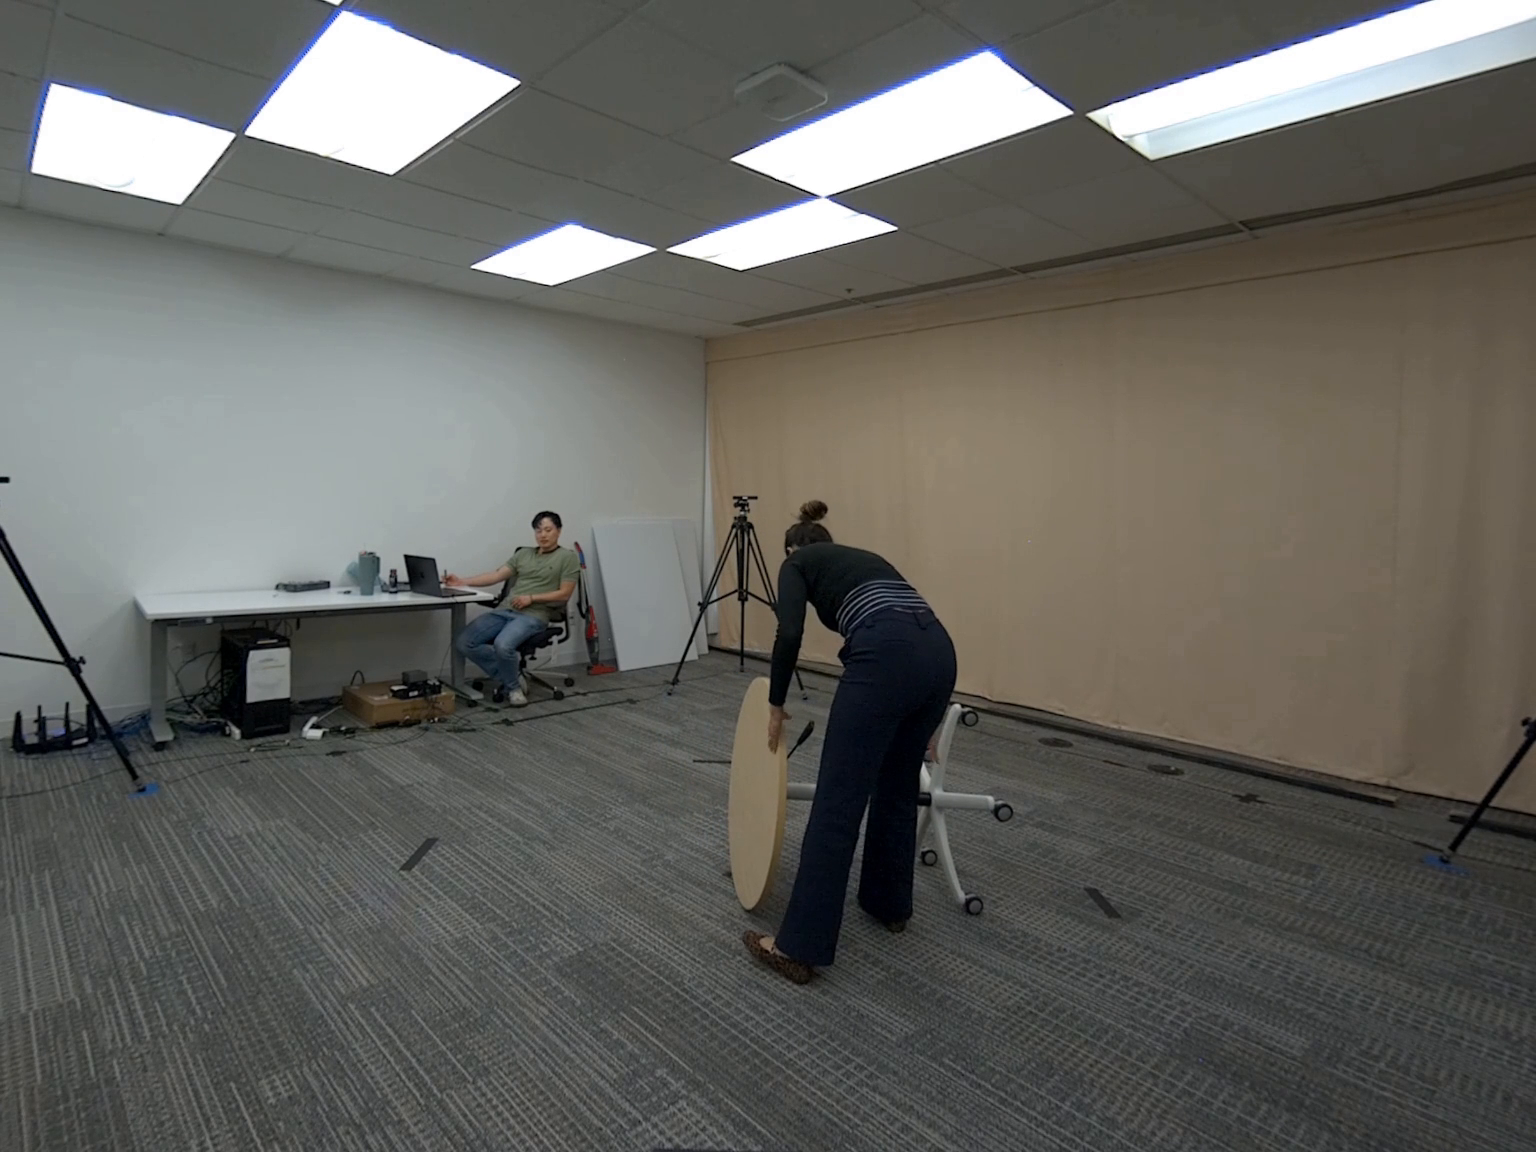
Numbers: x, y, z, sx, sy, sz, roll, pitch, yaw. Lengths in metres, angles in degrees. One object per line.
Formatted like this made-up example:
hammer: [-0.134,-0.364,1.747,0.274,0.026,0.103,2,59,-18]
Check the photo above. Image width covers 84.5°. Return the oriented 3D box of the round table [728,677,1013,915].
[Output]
round table: [0.324,0.785,2.981,0.786,0.763,0.773,7,3,-12]
